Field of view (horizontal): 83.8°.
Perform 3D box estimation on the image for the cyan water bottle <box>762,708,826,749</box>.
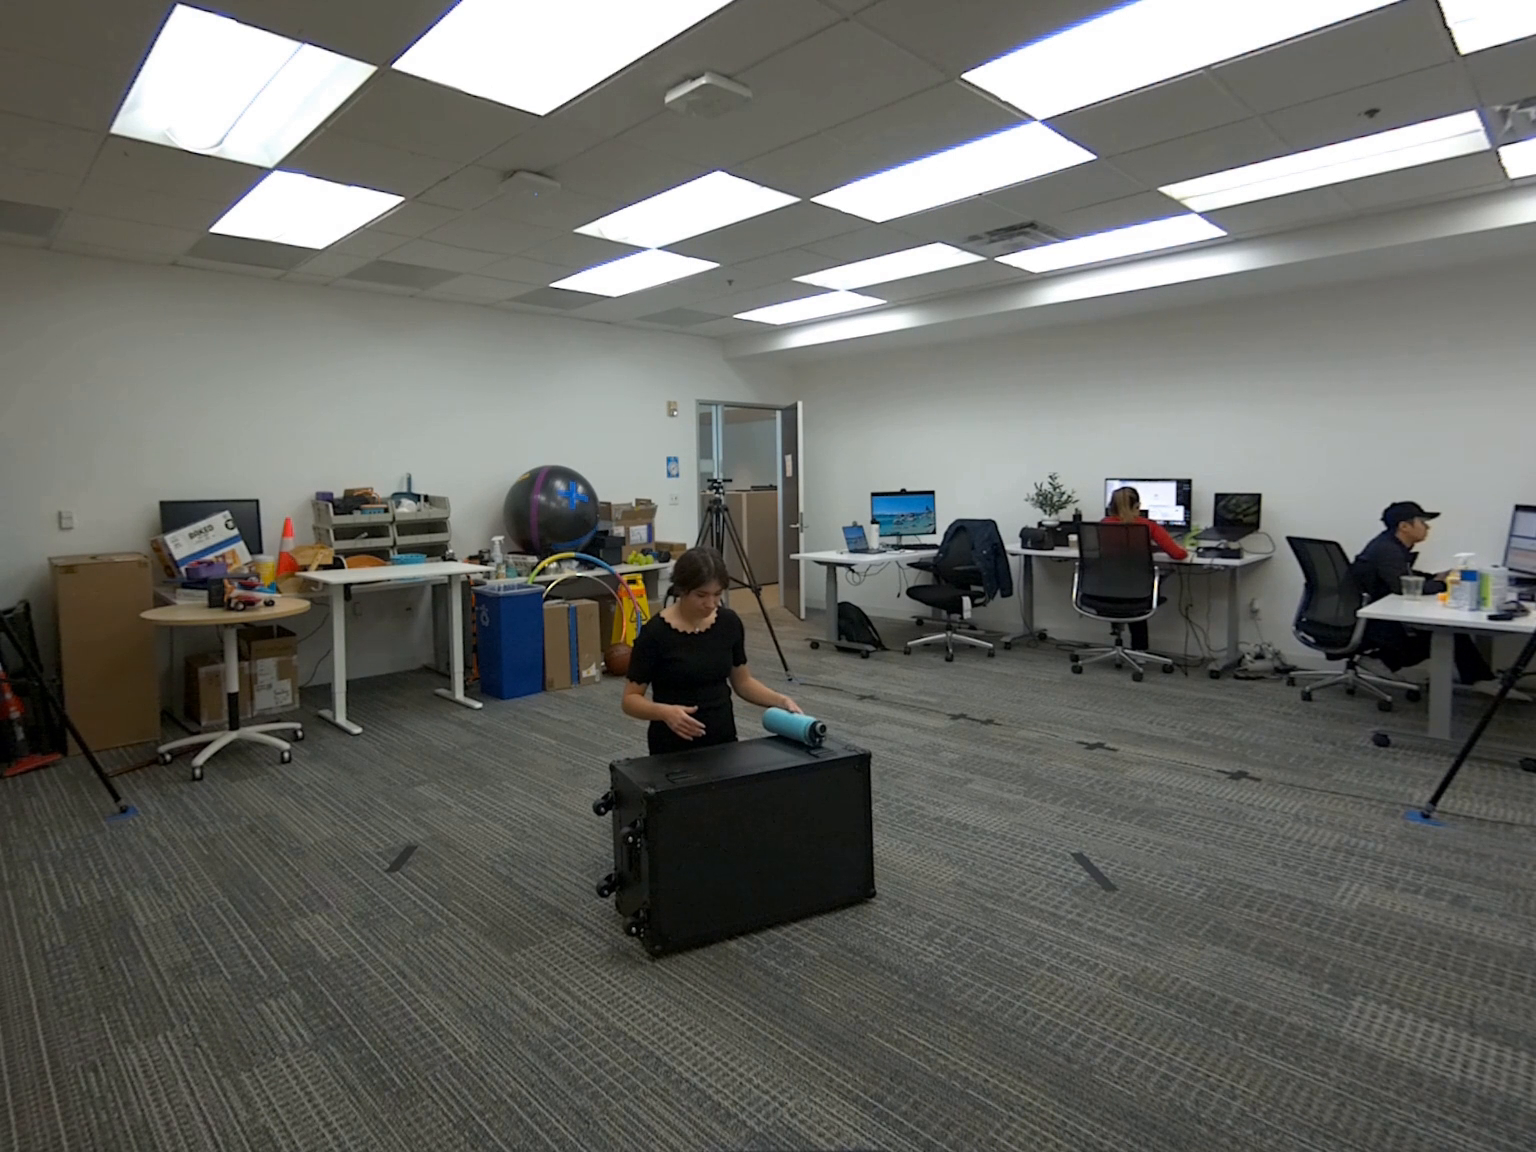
[{"bbox_3d":[0.101,0.522,2.964,0.090,0.092,0.291,-5,4,-37],"label":"cyan water bottle"}]
